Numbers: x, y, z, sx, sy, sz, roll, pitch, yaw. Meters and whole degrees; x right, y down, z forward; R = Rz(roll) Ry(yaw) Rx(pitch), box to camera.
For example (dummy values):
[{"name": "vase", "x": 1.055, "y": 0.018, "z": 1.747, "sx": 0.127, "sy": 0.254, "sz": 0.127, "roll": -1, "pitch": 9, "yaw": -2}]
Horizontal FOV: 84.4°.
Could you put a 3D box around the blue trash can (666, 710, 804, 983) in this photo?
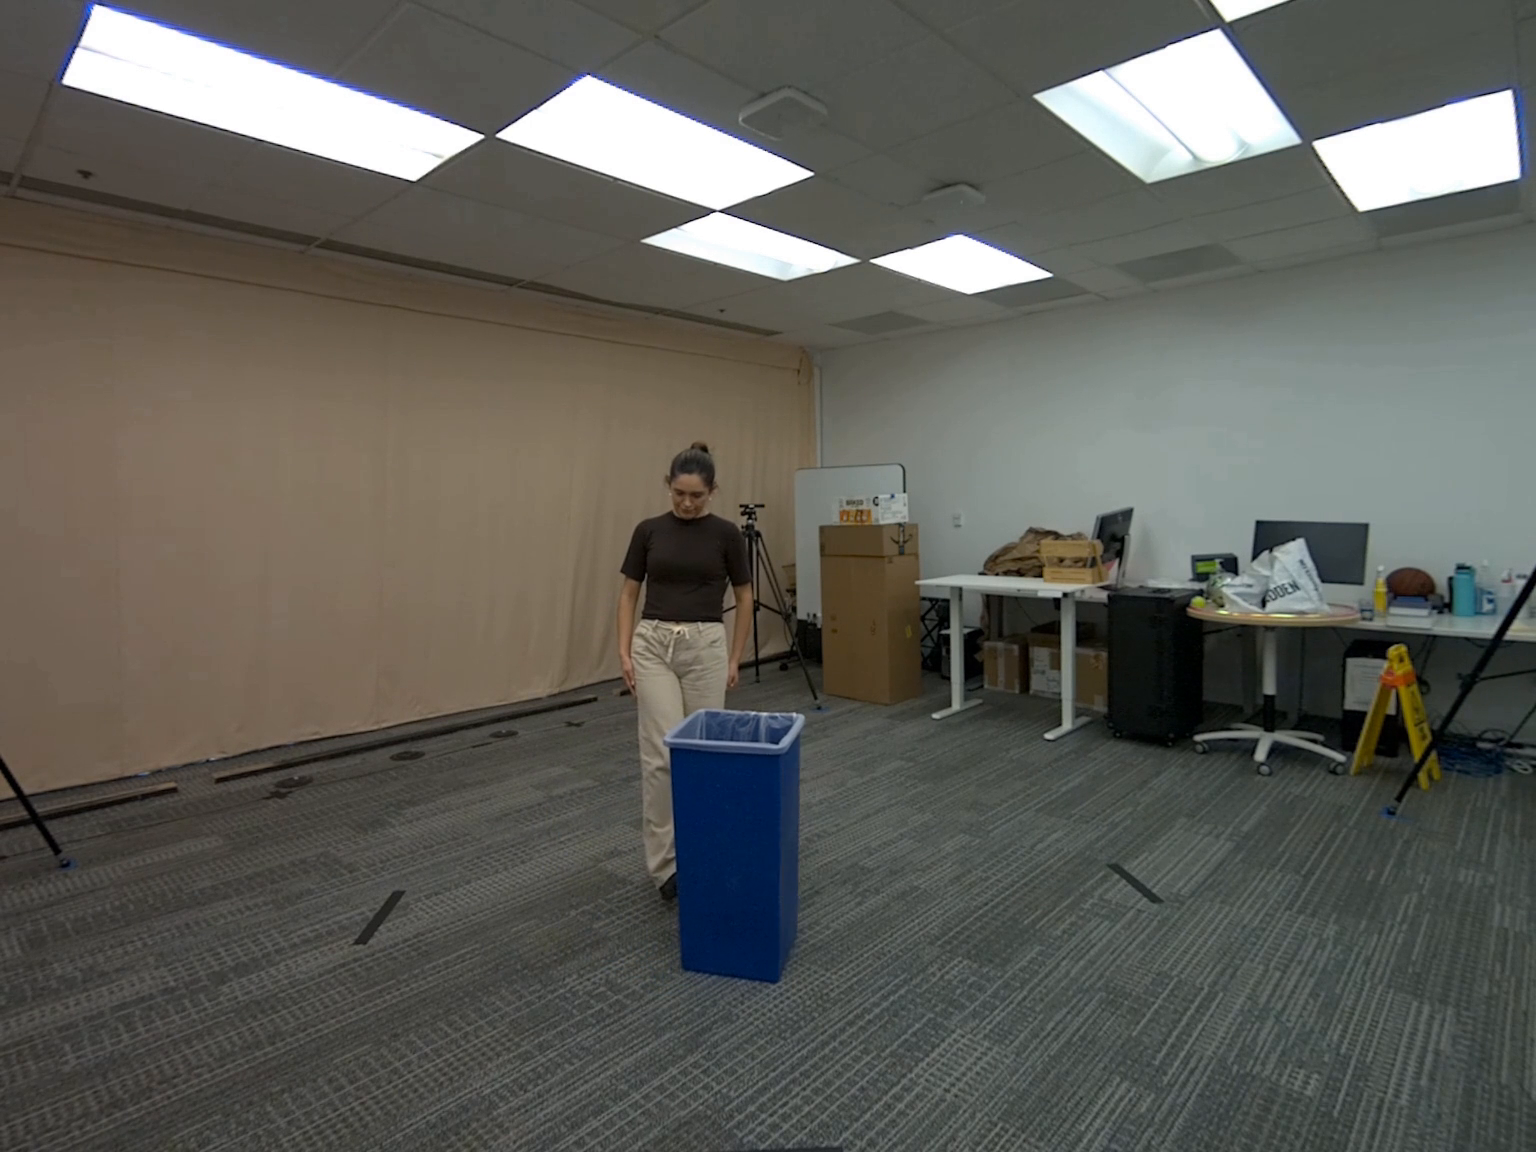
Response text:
[{"name": "blue trash can", "x": -0.092, "y": 0.814, "z": 2.601, "sx": 0.380, "sy": 0.712, "sz": 0.373, "roll": 1, "pitch": 4, "yaw": 14}]
